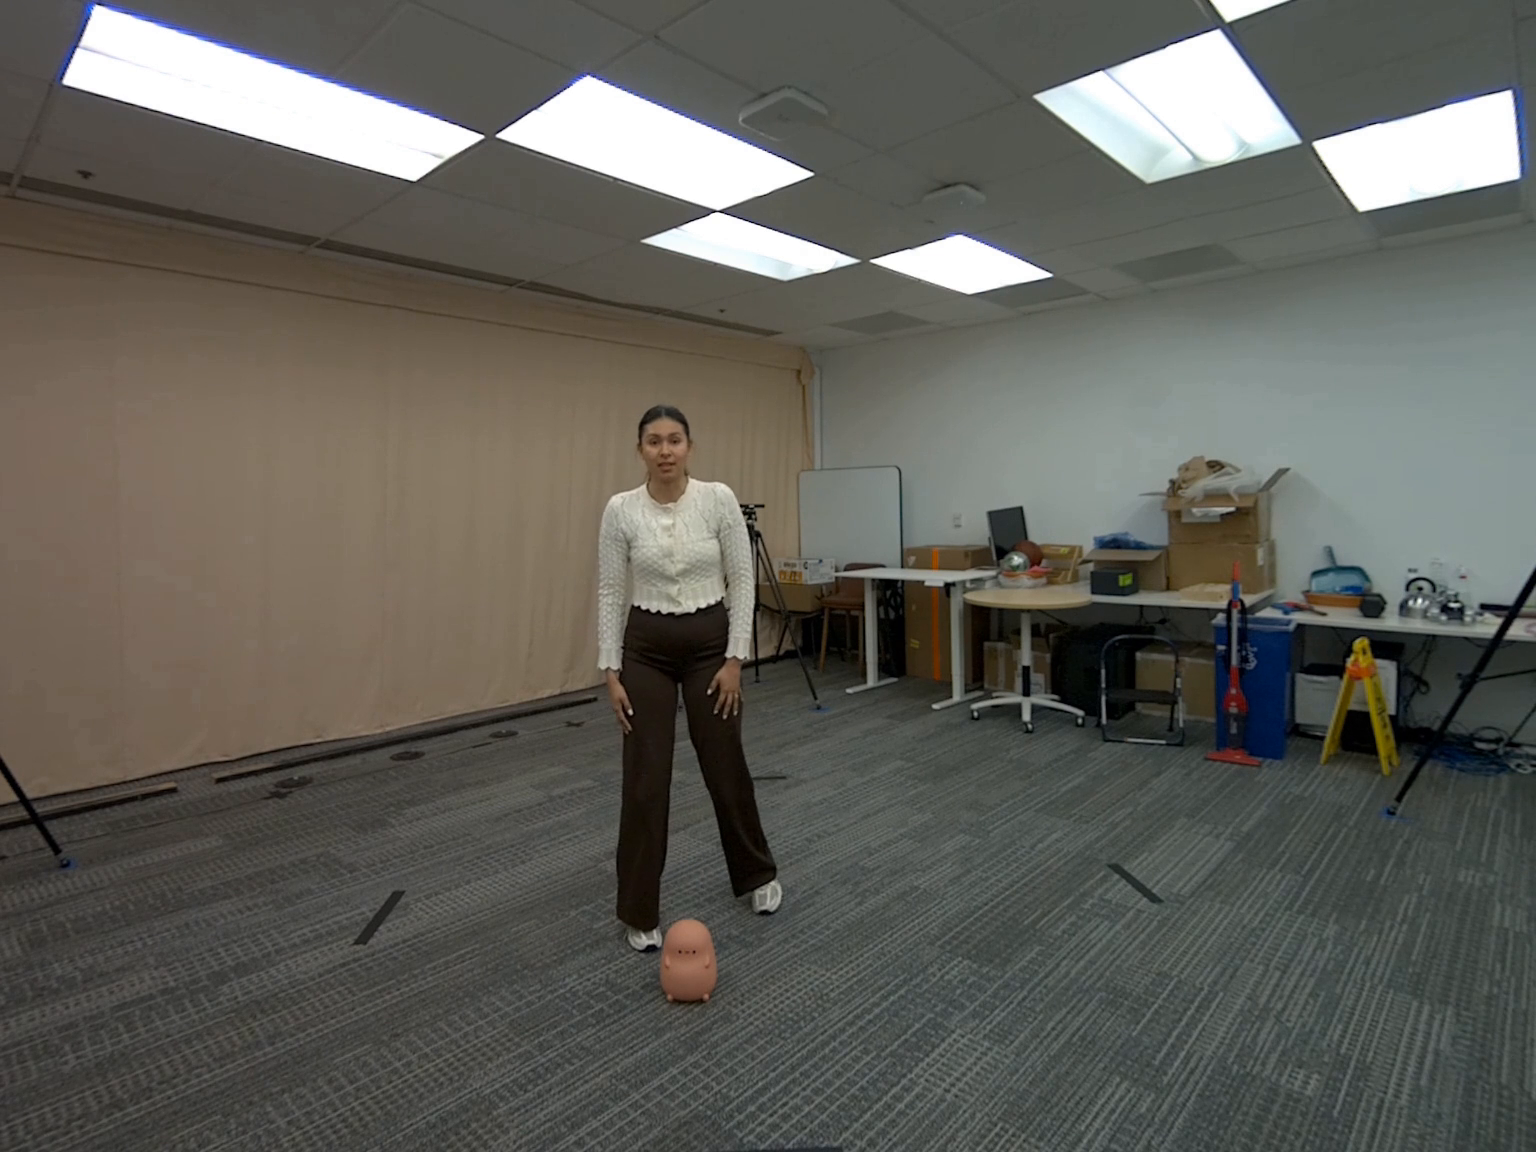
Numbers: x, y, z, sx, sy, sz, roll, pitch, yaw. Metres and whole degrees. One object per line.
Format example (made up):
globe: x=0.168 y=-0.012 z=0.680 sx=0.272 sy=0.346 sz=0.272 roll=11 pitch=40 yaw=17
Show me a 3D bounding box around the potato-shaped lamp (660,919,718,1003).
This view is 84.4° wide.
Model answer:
potato-shaped lamp: x=-0.226 y=1.093 z=2.412 sx=0.166 sy=0.198 sz=0.170 roll=-2 pitch=2 yaw=8
